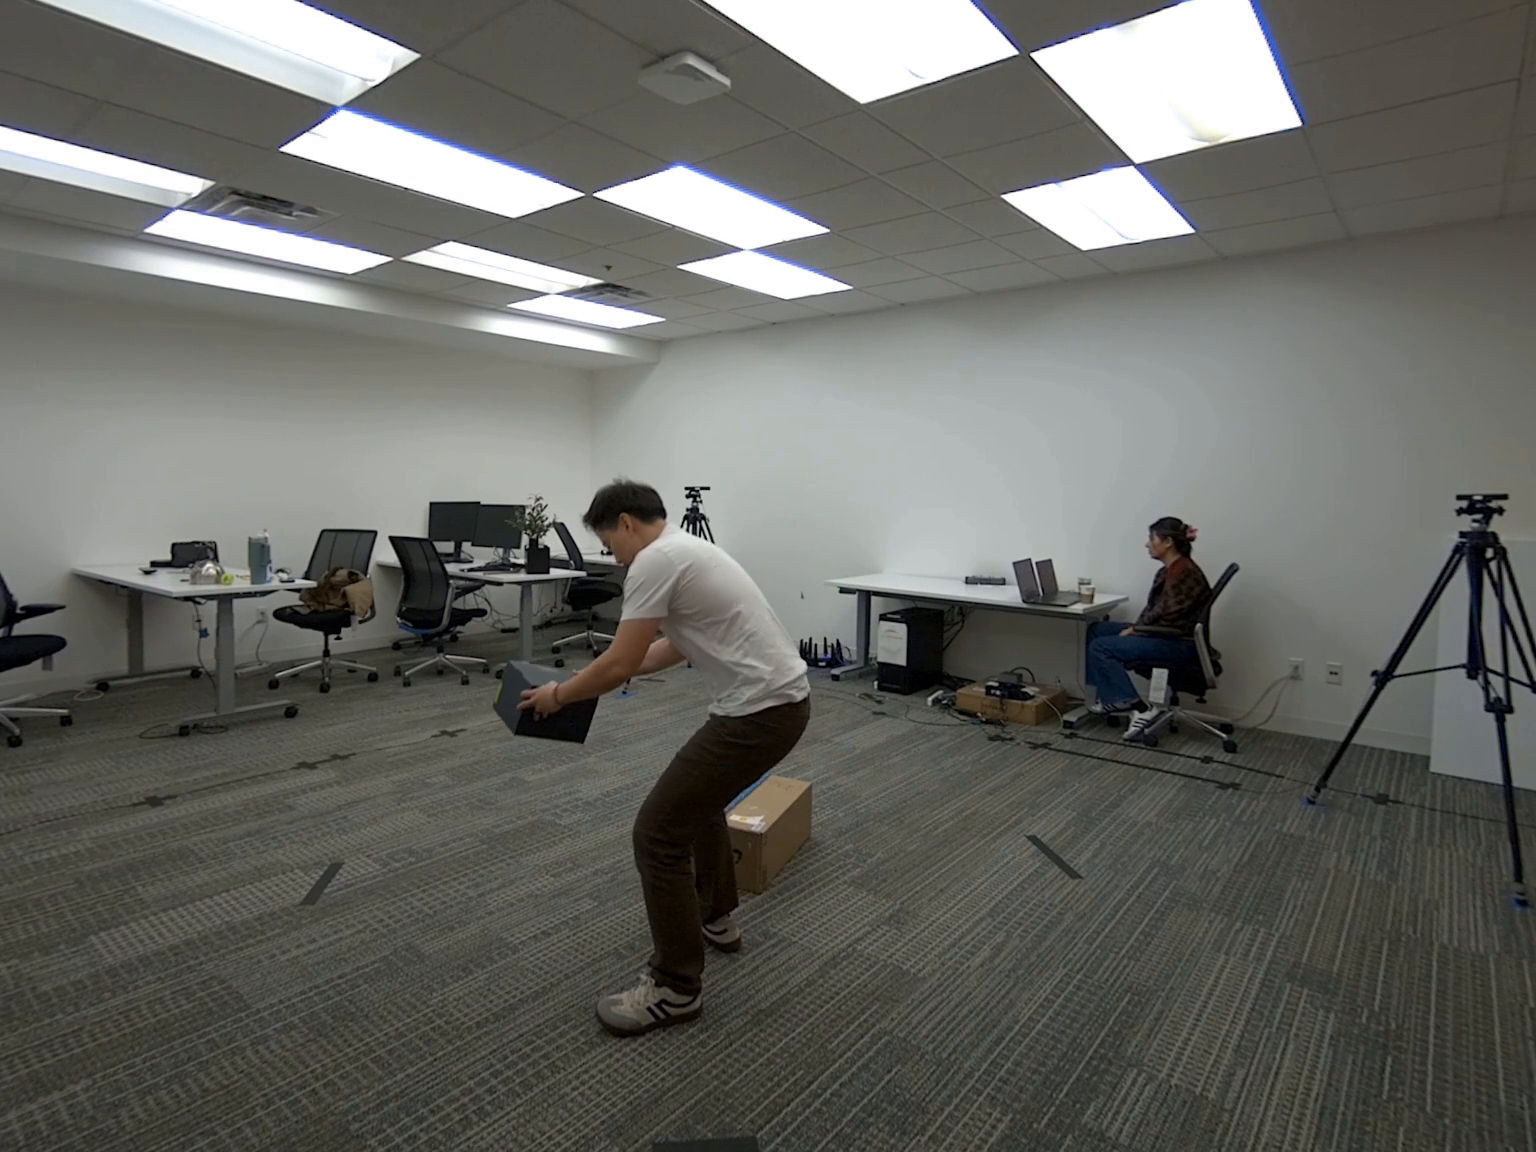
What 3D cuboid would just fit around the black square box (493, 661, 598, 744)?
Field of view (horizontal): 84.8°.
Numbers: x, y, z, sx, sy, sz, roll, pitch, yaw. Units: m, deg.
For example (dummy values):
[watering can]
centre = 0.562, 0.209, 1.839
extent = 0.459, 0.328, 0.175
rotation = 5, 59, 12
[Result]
[black square box]
centre = -0.681, 0.380, 2.574
extent = 0.220, 0.156, 0.225
rotation = 16, 3, -37
